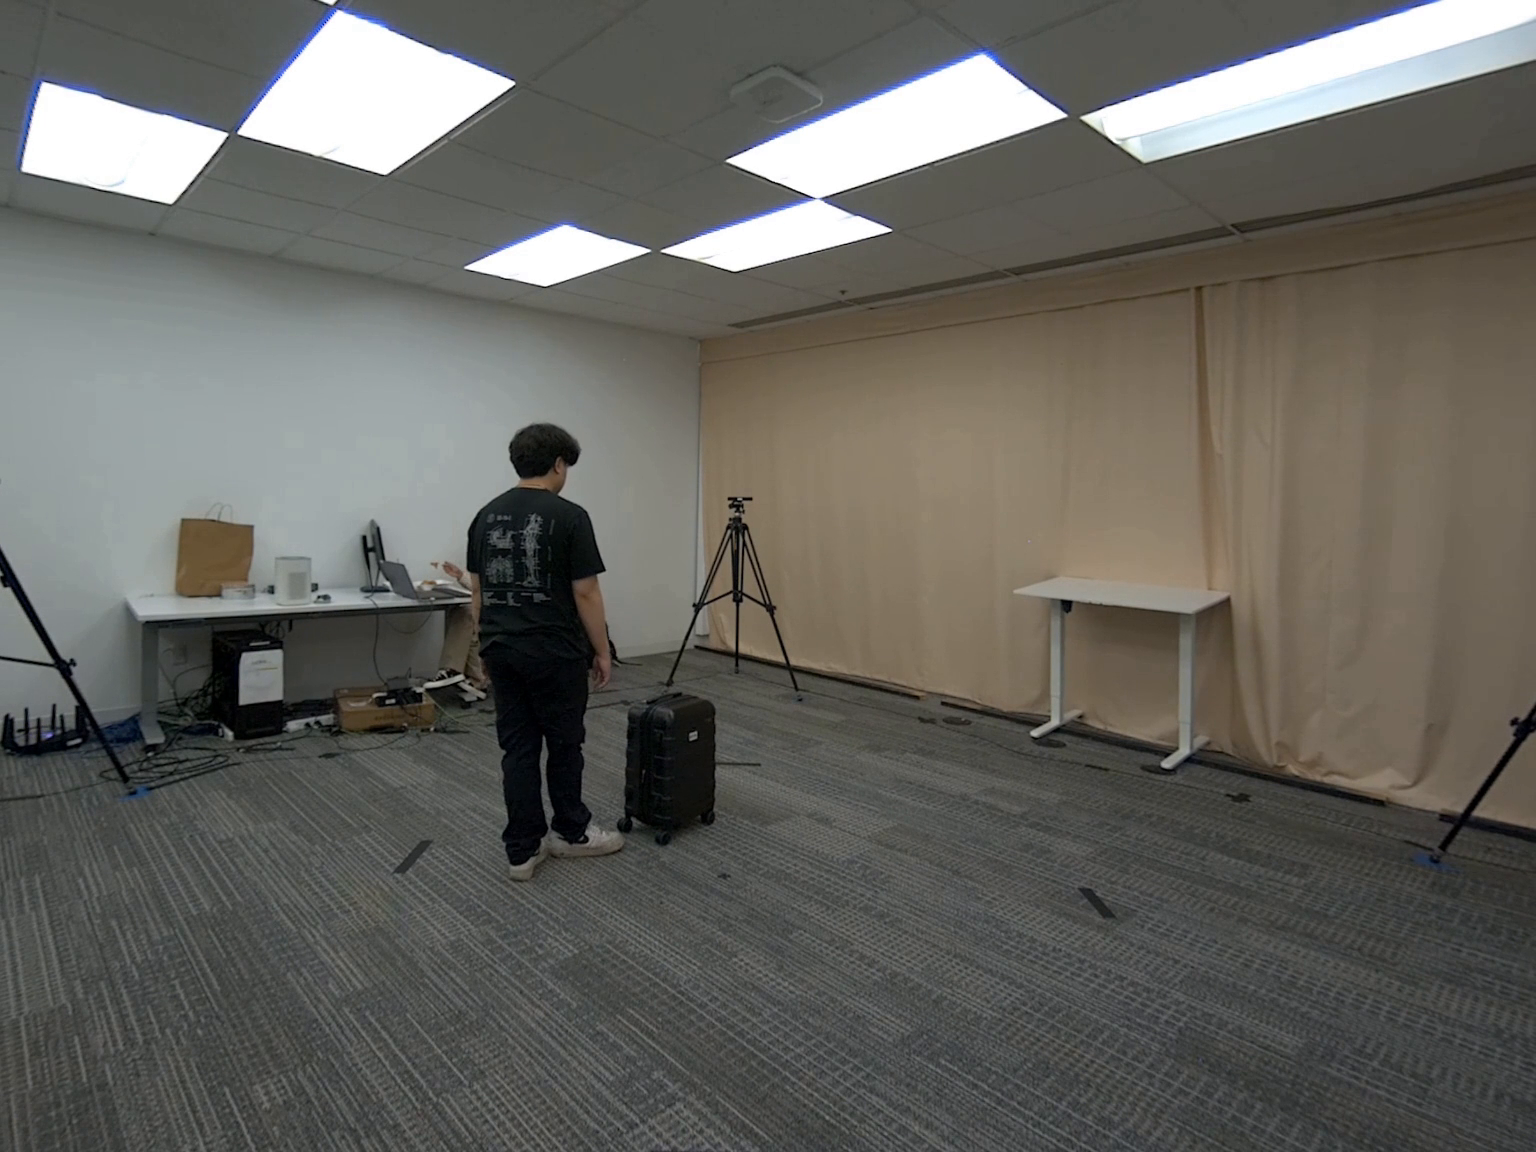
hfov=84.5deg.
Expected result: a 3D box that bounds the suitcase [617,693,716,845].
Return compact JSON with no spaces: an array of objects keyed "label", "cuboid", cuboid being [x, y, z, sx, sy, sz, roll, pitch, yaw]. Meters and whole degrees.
[{"label":"suitcase","cuboid":[-0.418,0.785,3.566,0.254,0.549,0.367,4,2,34]}]
